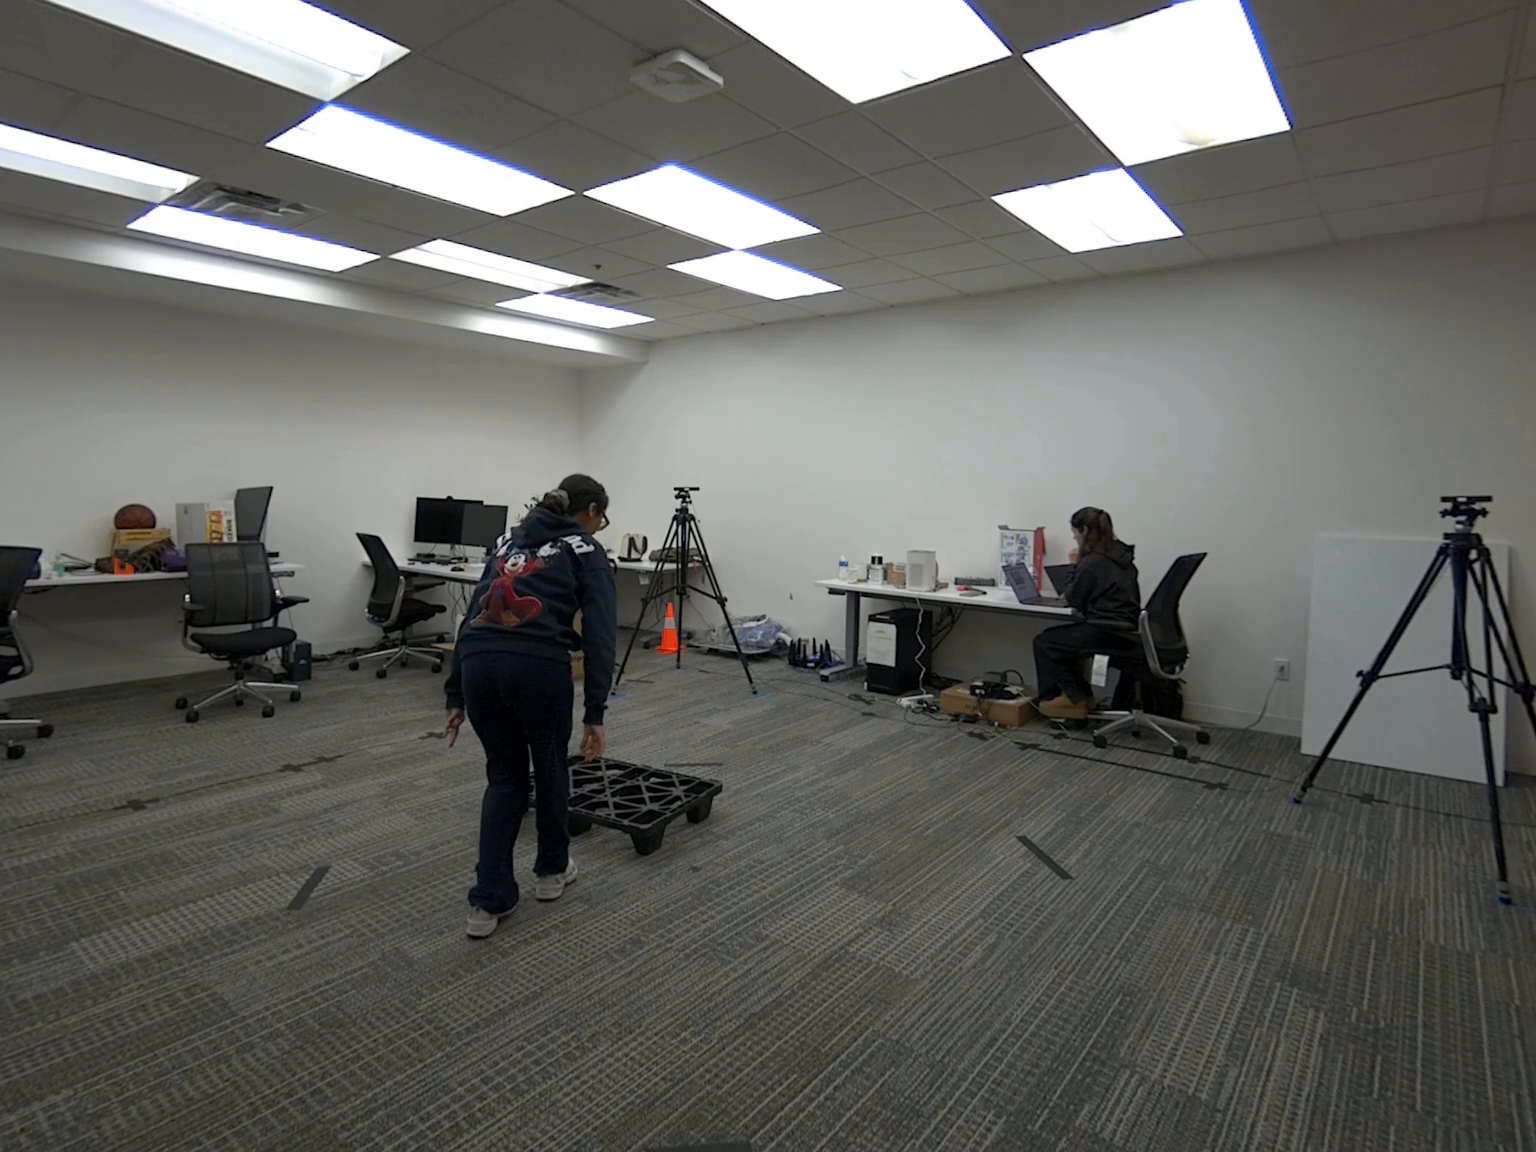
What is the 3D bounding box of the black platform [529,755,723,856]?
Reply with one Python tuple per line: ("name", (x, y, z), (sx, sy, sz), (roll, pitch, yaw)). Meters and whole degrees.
("black platform", (-0.685, 0.947, 3.582), (0.829, 0.143, 0.590), (3, 6, 29))
